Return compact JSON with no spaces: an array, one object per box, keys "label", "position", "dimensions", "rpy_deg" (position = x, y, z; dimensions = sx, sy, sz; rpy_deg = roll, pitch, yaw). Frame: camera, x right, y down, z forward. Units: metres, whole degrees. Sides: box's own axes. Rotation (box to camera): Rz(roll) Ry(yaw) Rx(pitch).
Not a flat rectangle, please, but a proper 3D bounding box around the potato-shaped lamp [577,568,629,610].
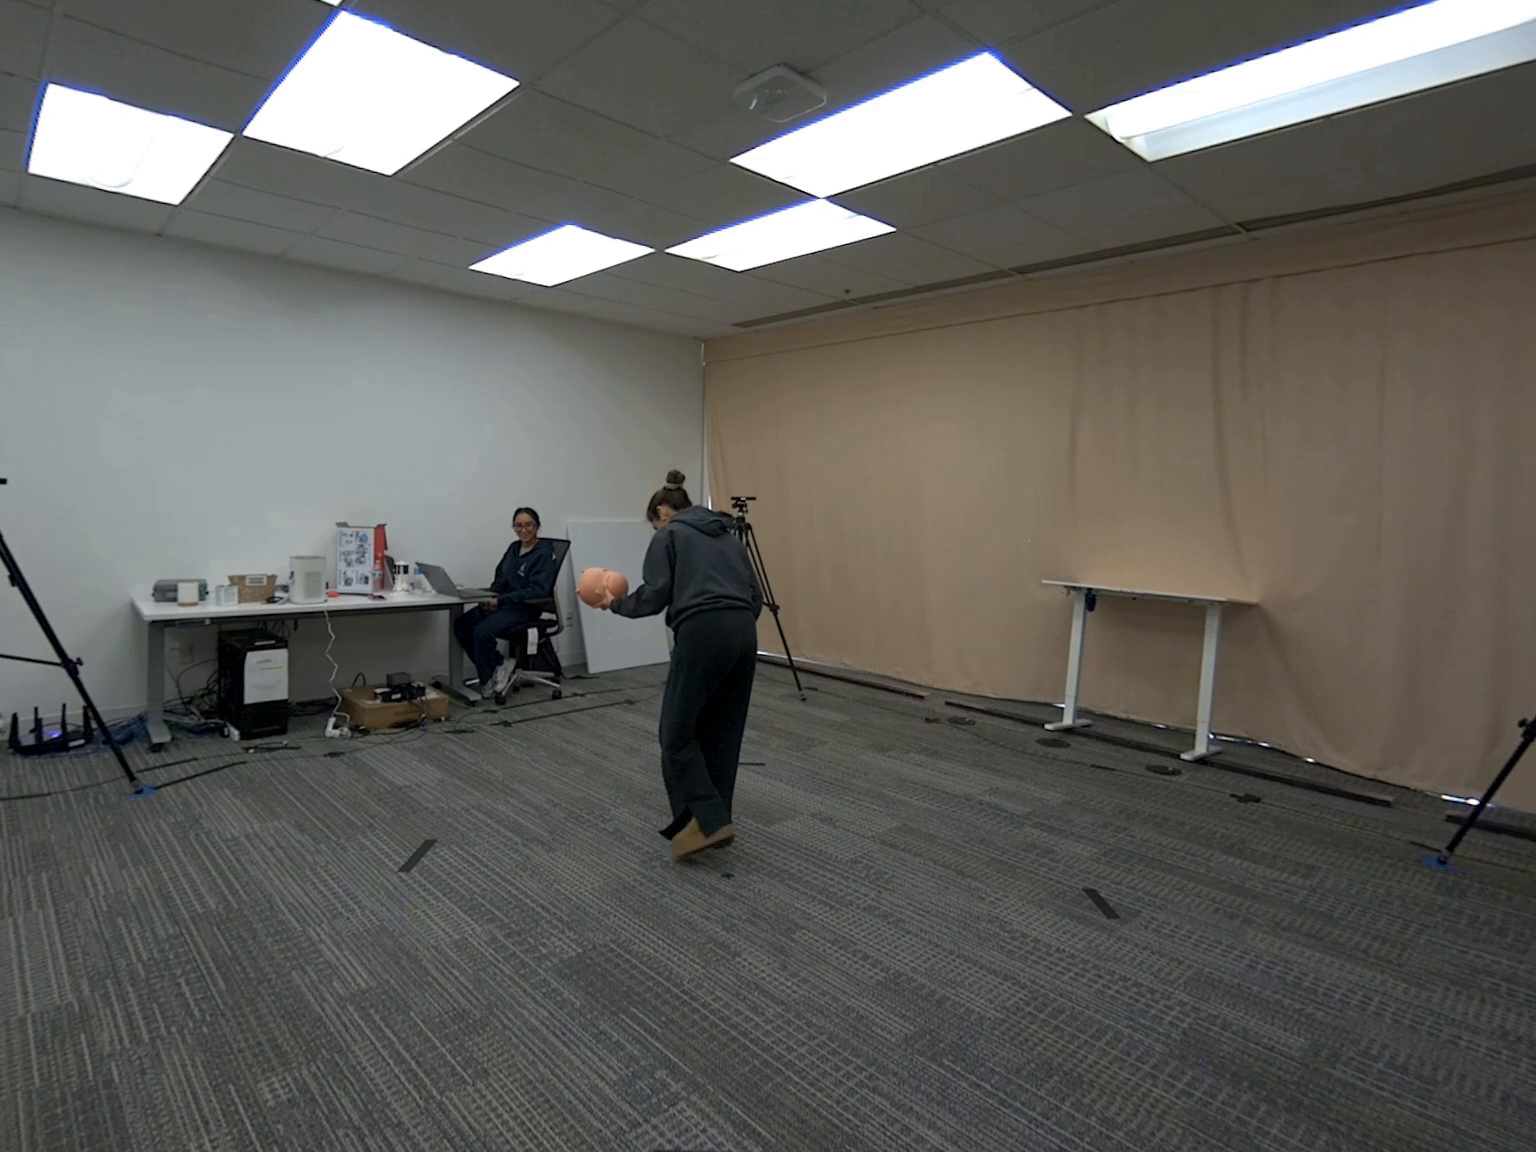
[{"label":"potato-shaped lamp","position":[-0.692,0.050,3.542],"dimensions":[0.201,0.167,0.166],"rpy_deg":[-3,-36,20]}]
